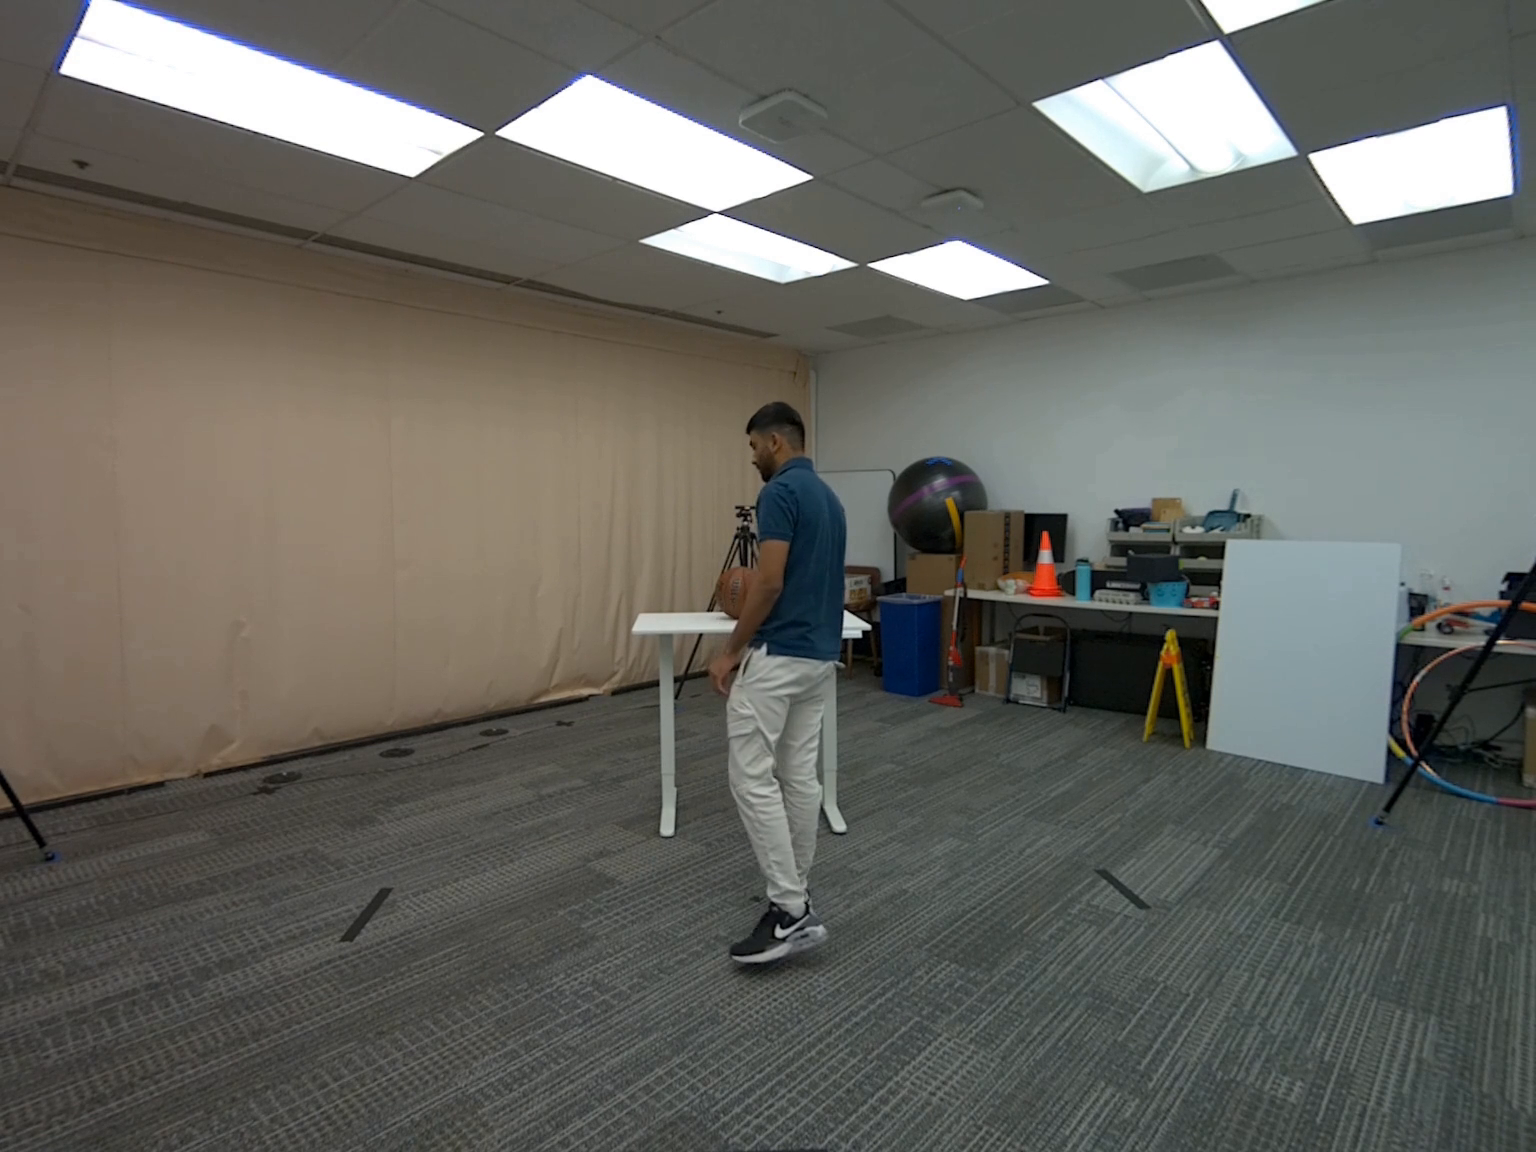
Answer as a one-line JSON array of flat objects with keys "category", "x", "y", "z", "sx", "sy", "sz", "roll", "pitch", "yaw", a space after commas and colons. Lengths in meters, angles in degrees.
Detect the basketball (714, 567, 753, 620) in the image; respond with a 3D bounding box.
[{"category": "basketball", "x": -0.124, "y": 0.074, "z": 3.833, "sx": 0.236, "sy": 0.235, "sz": 0.237, "roll": 0, "pitch": 4, "yaw": -2}]
